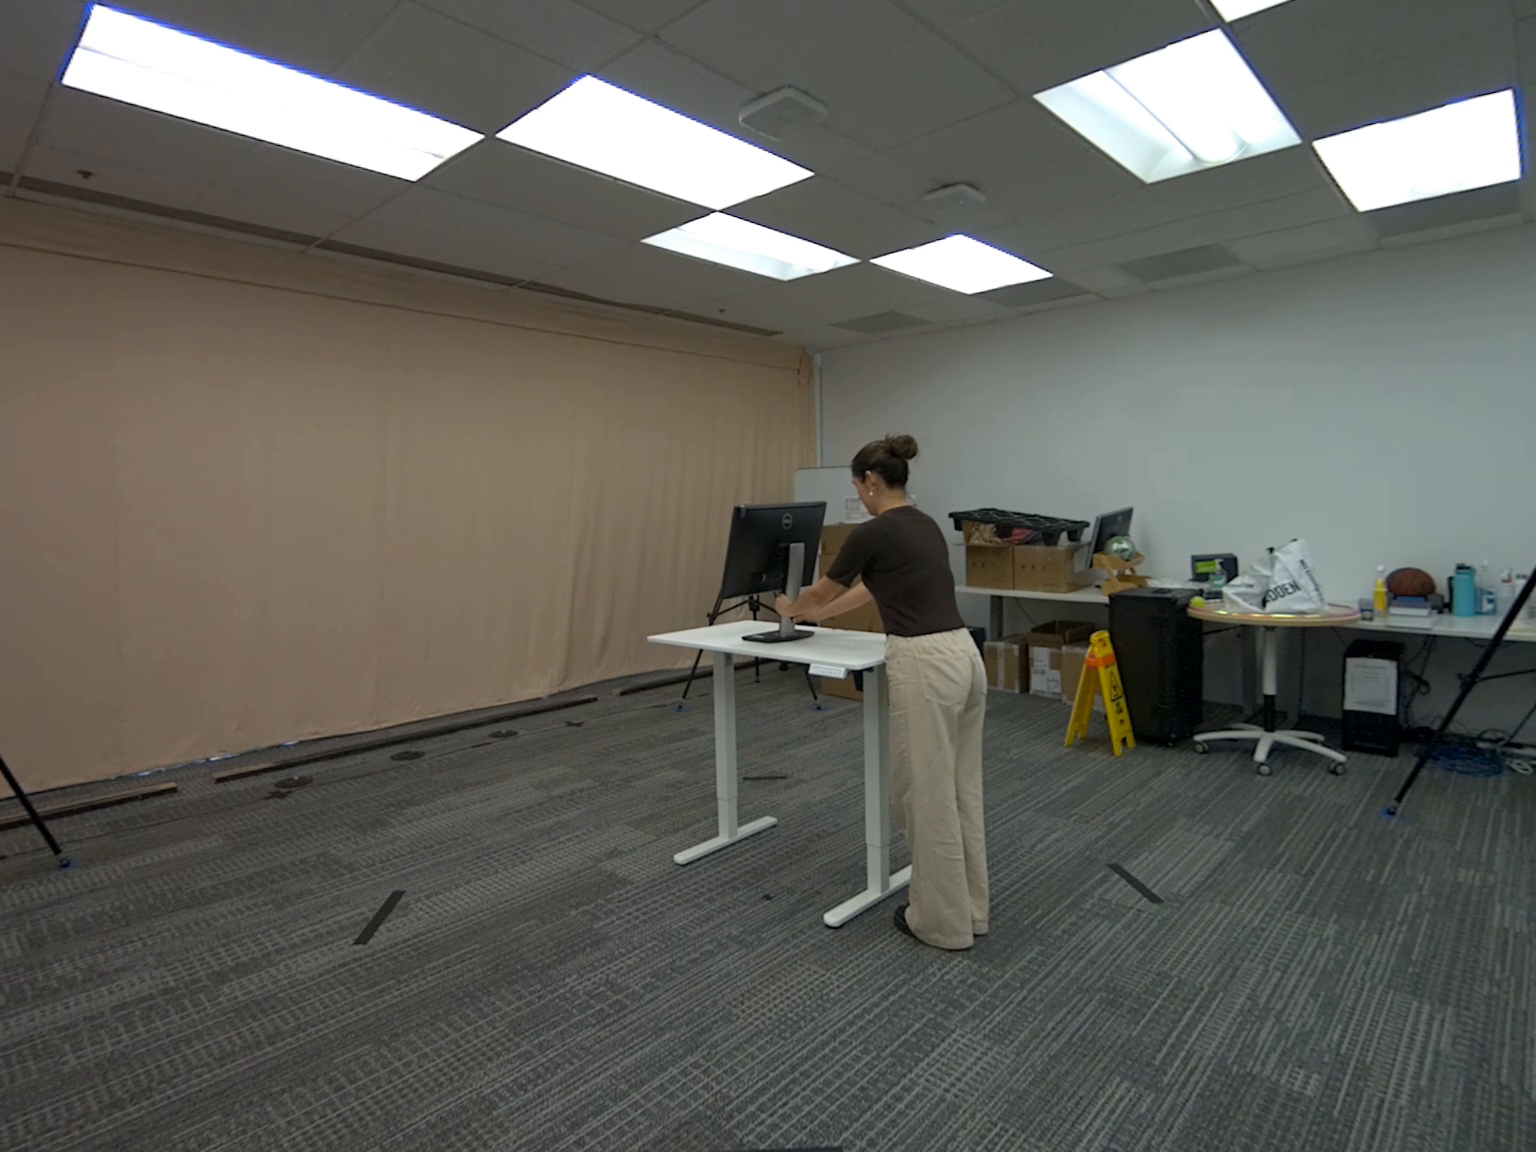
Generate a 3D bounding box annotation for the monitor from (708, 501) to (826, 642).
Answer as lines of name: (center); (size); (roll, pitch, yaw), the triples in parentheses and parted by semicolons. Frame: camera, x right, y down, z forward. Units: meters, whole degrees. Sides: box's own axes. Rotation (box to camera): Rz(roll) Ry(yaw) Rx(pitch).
monitor: (0.057, -0.019, 3.207); (0.180, 0.515, 0.514); (-2, 3, 41)
